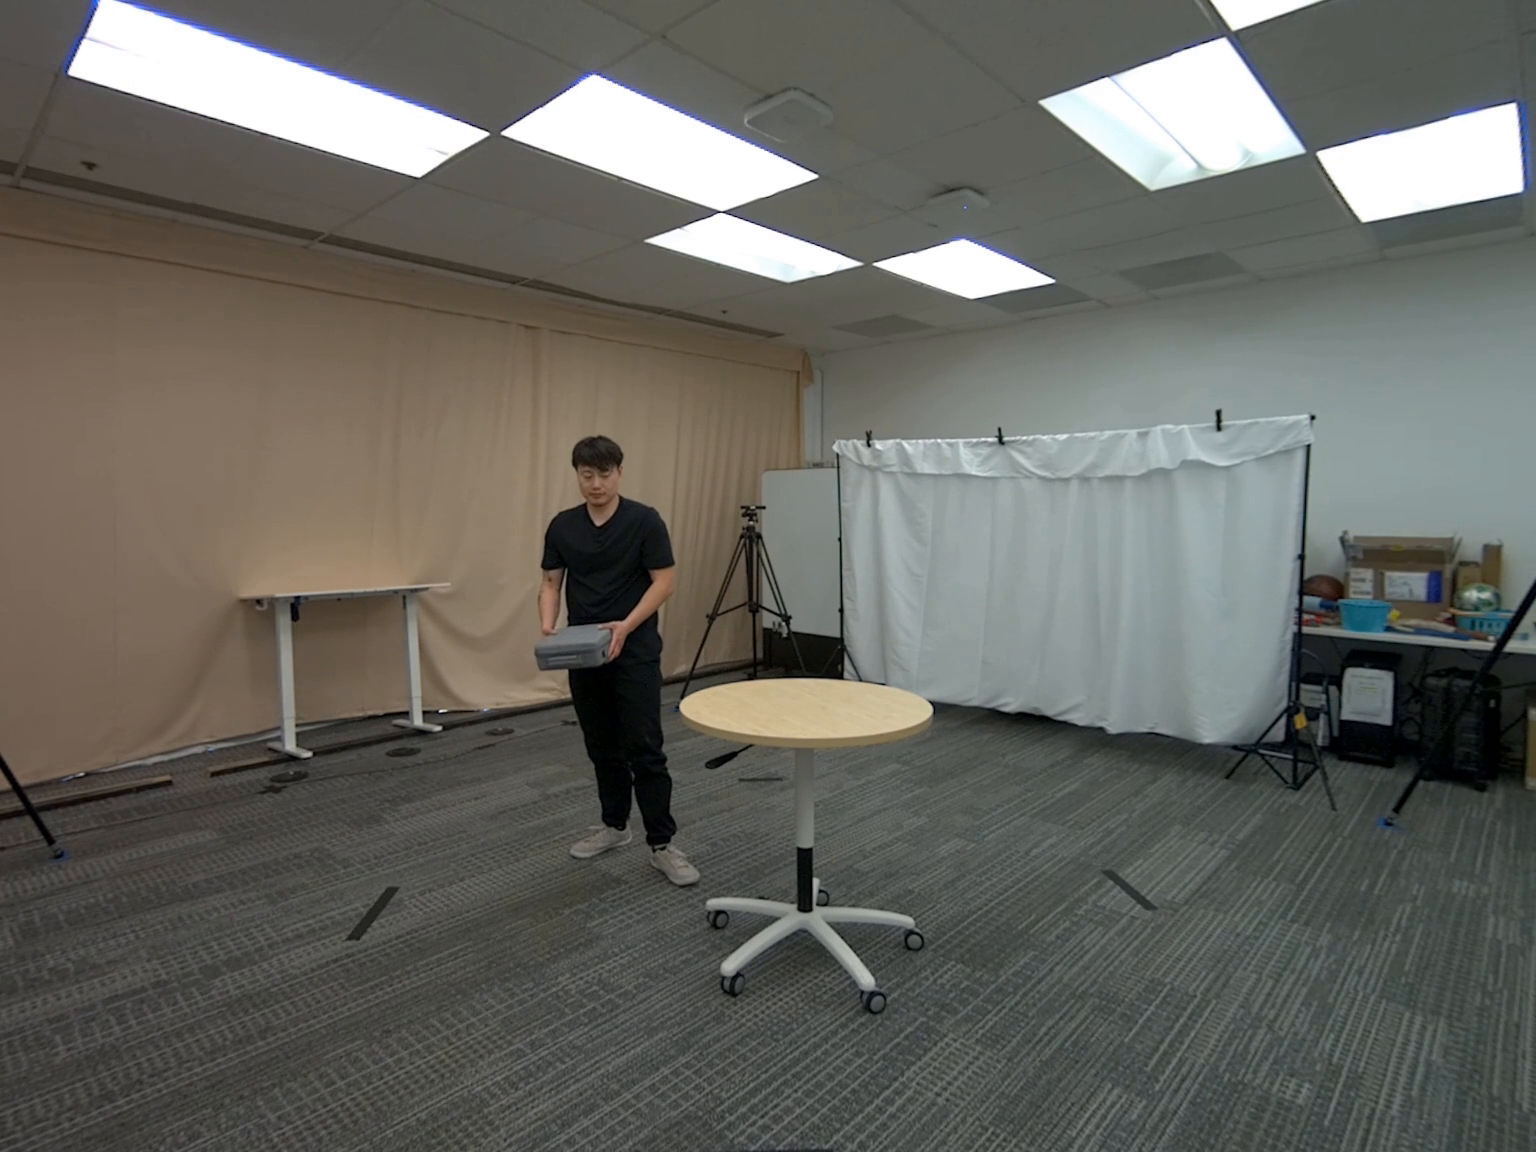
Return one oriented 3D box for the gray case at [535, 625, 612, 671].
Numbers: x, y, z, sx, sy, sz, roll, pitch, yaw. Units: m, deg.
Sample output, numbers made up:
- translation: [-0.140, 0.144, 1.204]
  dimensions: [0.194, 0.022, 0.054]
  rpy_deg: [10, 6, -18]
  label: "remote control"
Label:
- translation: [-0.693, 0.255, 3.085]
  dimensions: [0.260, 0.103, 0.259]
  rpy_deg: [-3, 10, 12]
  label: "gray case"
